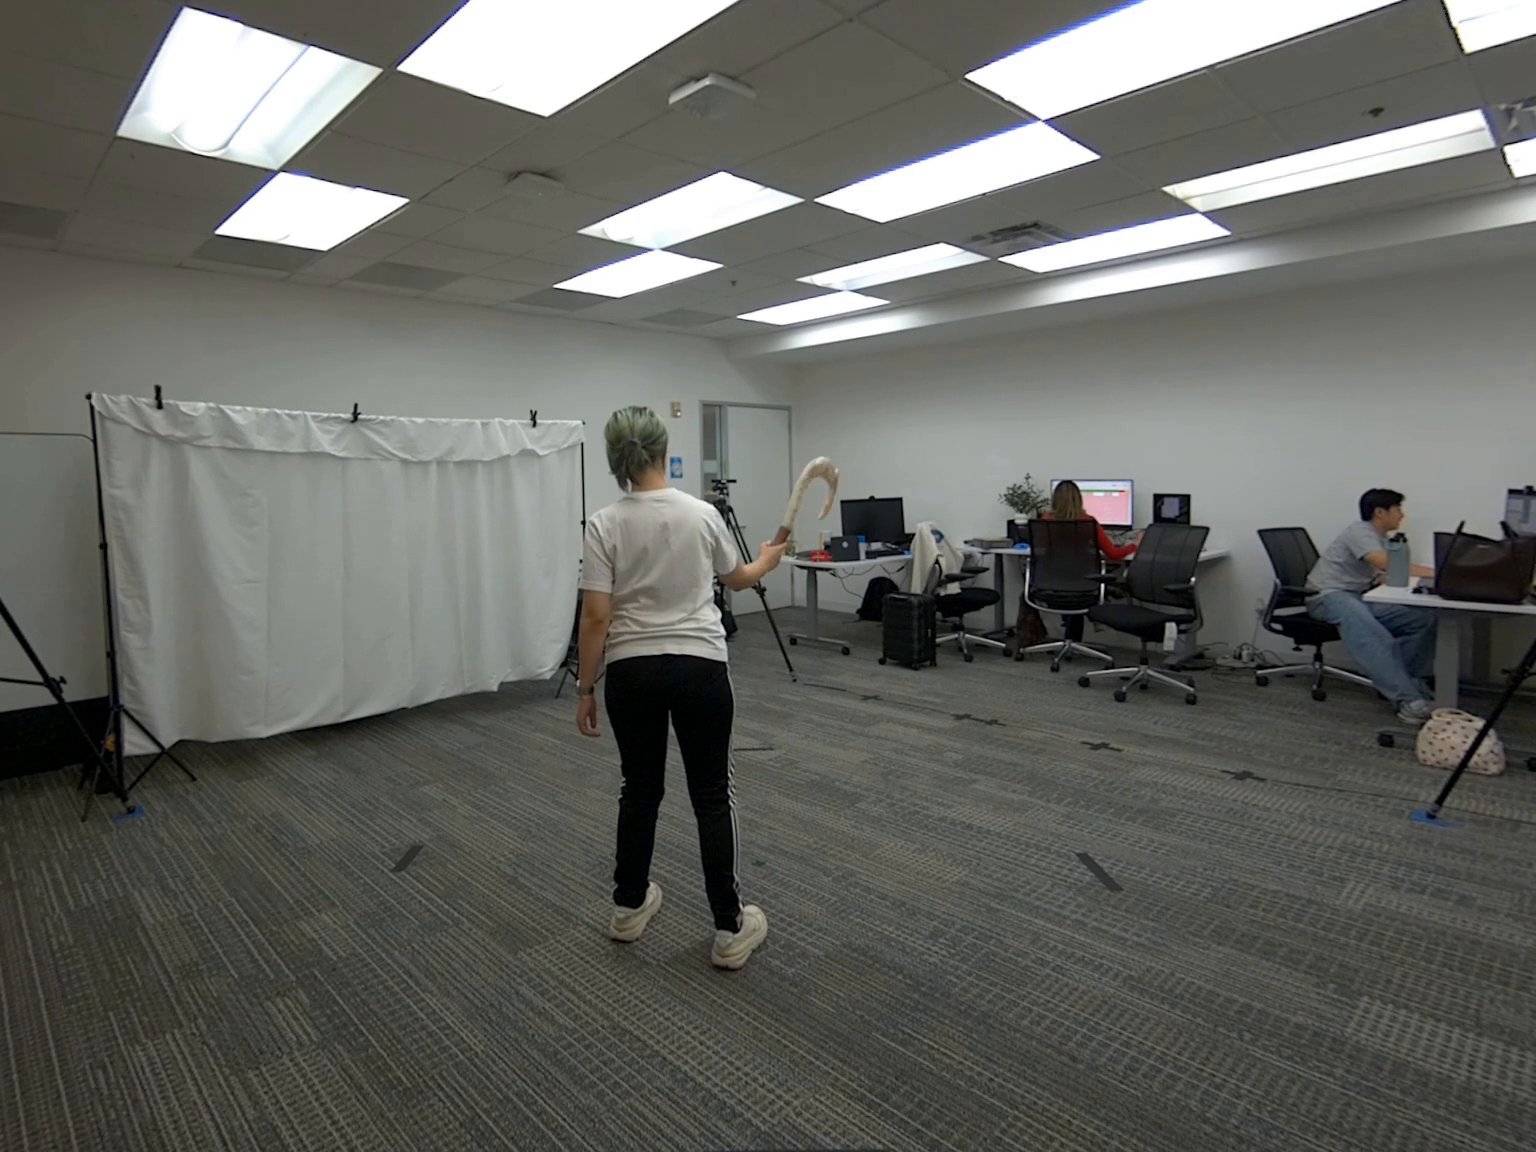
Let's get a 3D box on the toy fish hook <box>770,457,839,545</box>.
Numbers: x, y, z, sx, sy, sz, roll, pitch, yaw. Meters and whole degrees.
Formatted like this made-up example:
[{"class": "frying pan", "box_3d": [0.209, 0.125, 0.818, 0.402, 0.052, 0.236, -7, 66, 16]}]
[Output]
[{"class": "toy fish hook", "box_3d": [0.104, -0.186, 3.096, 0.050, 0.508, 0.216, 18, -16, 48]}]
